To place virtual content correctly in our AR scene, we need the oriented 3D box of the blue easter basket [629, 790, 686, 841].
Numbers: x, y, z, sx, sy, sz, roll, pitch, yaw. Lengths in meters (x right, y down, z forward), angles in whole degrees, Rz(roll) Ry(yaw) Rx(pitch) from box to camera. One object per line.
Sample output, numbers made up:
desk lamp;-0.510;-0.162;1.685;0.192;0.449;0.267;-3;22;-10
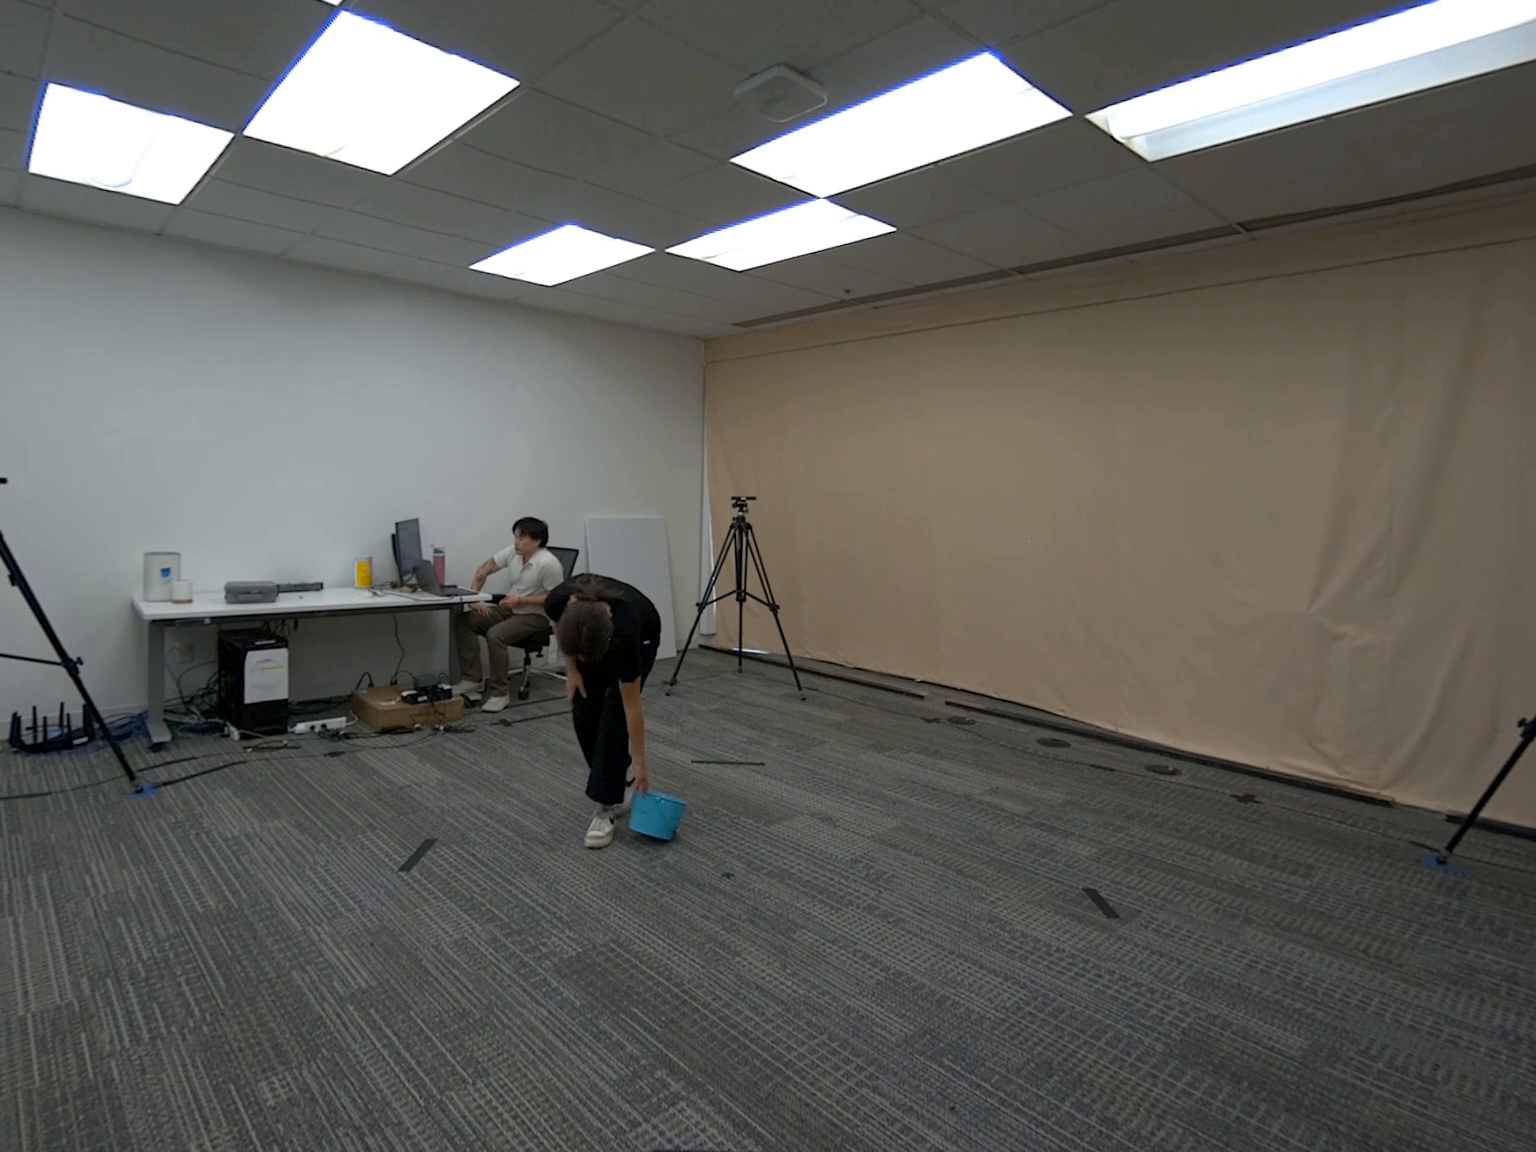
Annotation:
blue easter basket;-0.469;0.969;3.425;0.244;0.157;0.241;14;-12;2
